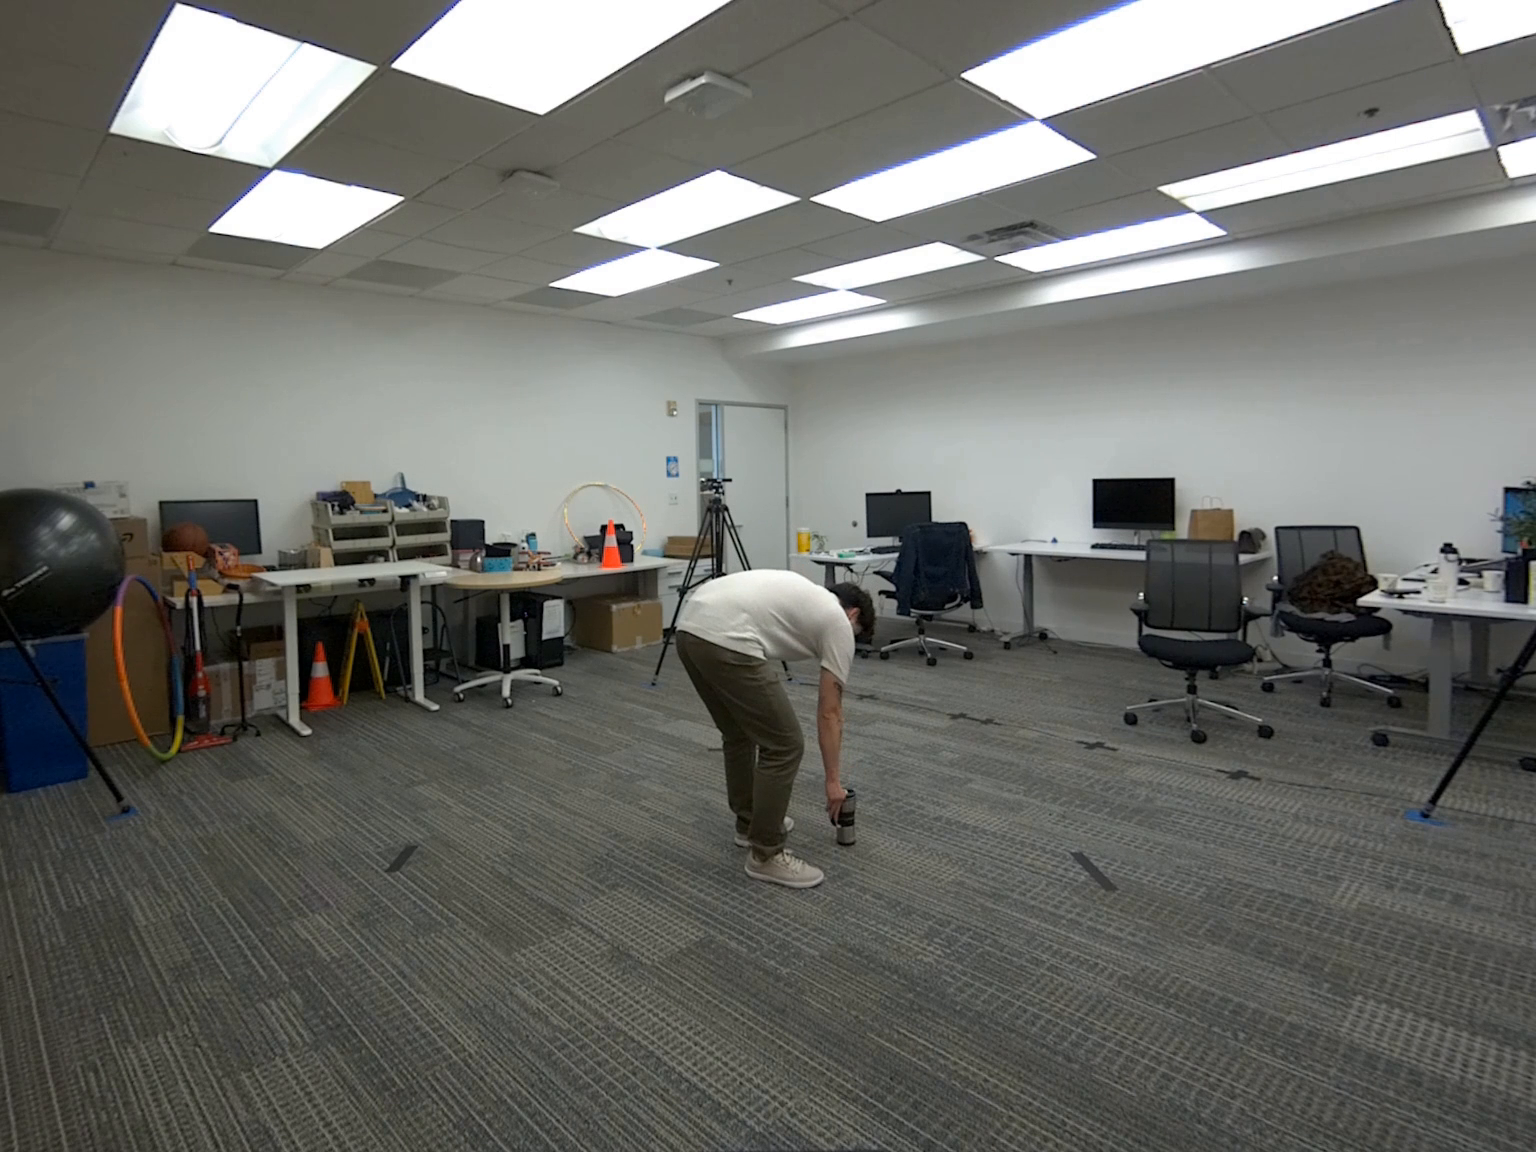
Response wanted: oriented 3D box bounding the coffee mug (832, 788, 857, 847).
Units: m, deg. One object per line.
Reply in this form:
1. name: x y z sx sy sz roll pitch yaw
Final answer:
1. coffee mug: 0.280 0.913 3.251 0.118 0.202 0.091 -1 8 -43
